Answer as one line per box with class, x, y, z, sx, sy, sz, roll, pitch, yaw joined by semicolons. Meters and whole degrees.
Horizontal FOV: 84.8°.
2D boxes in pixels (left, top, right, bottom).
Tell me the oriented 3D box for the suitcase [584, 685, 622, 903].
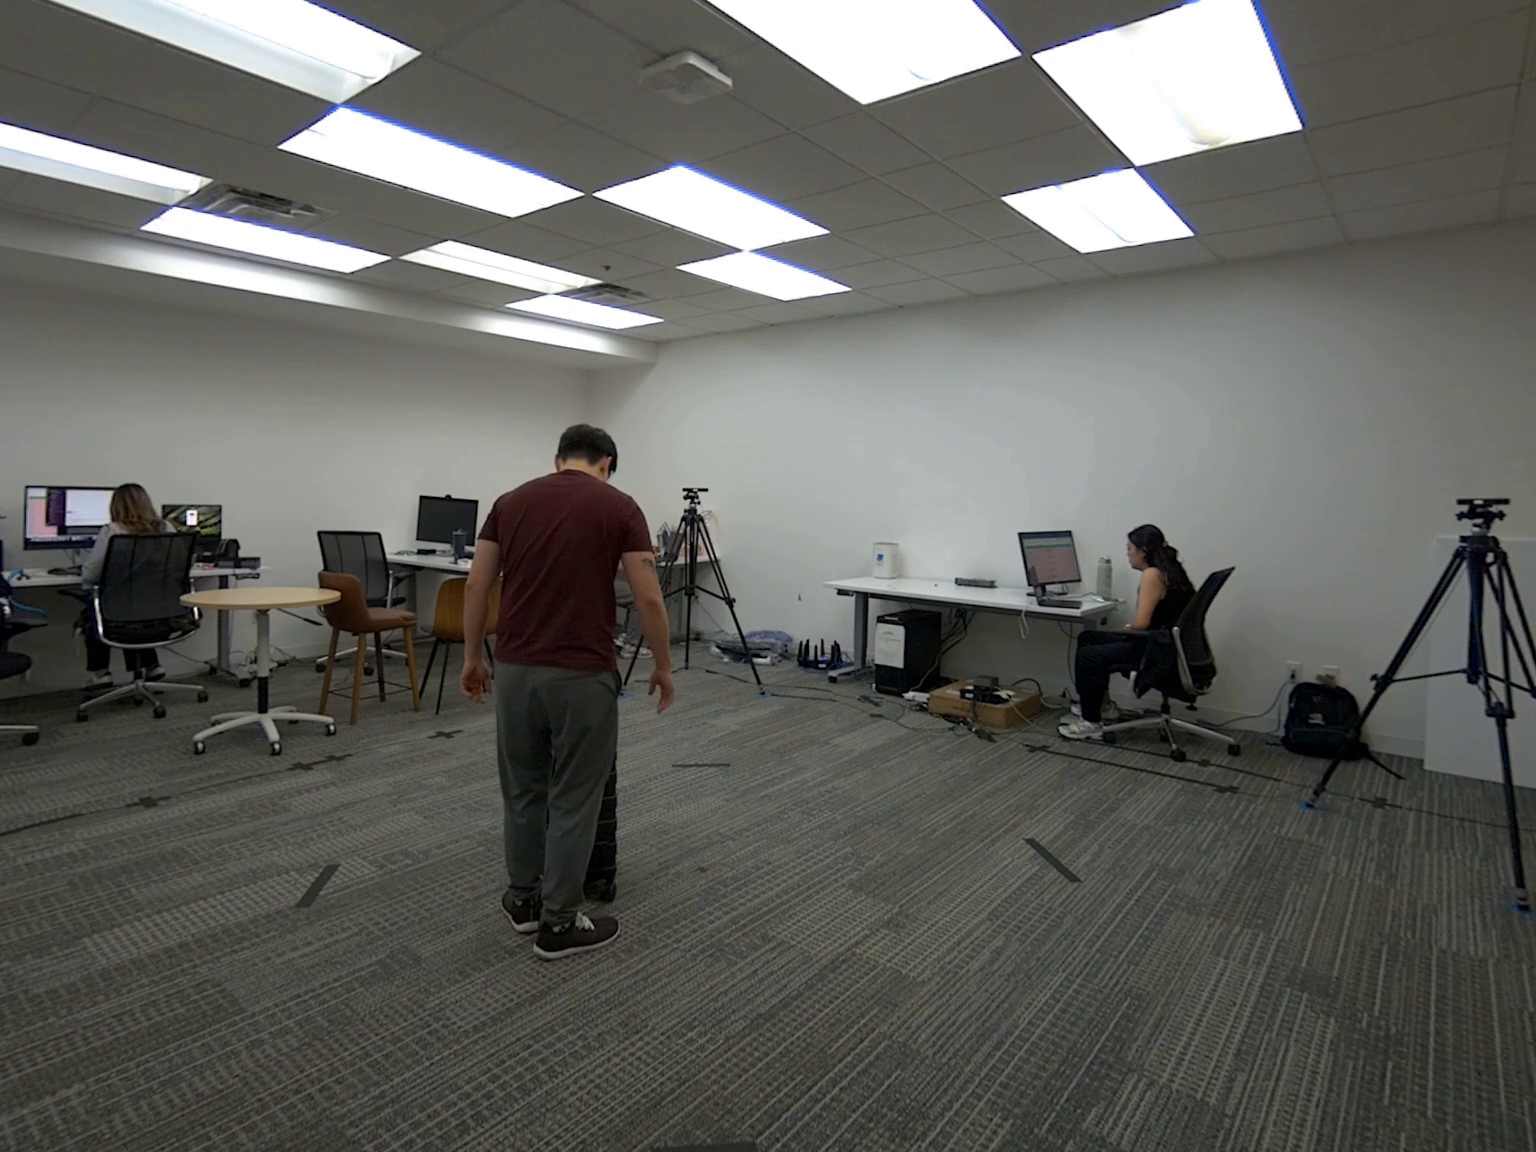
suitcase;-0.679;0.601;2.990;0.254;0.977;0.390;-1;2;-13
